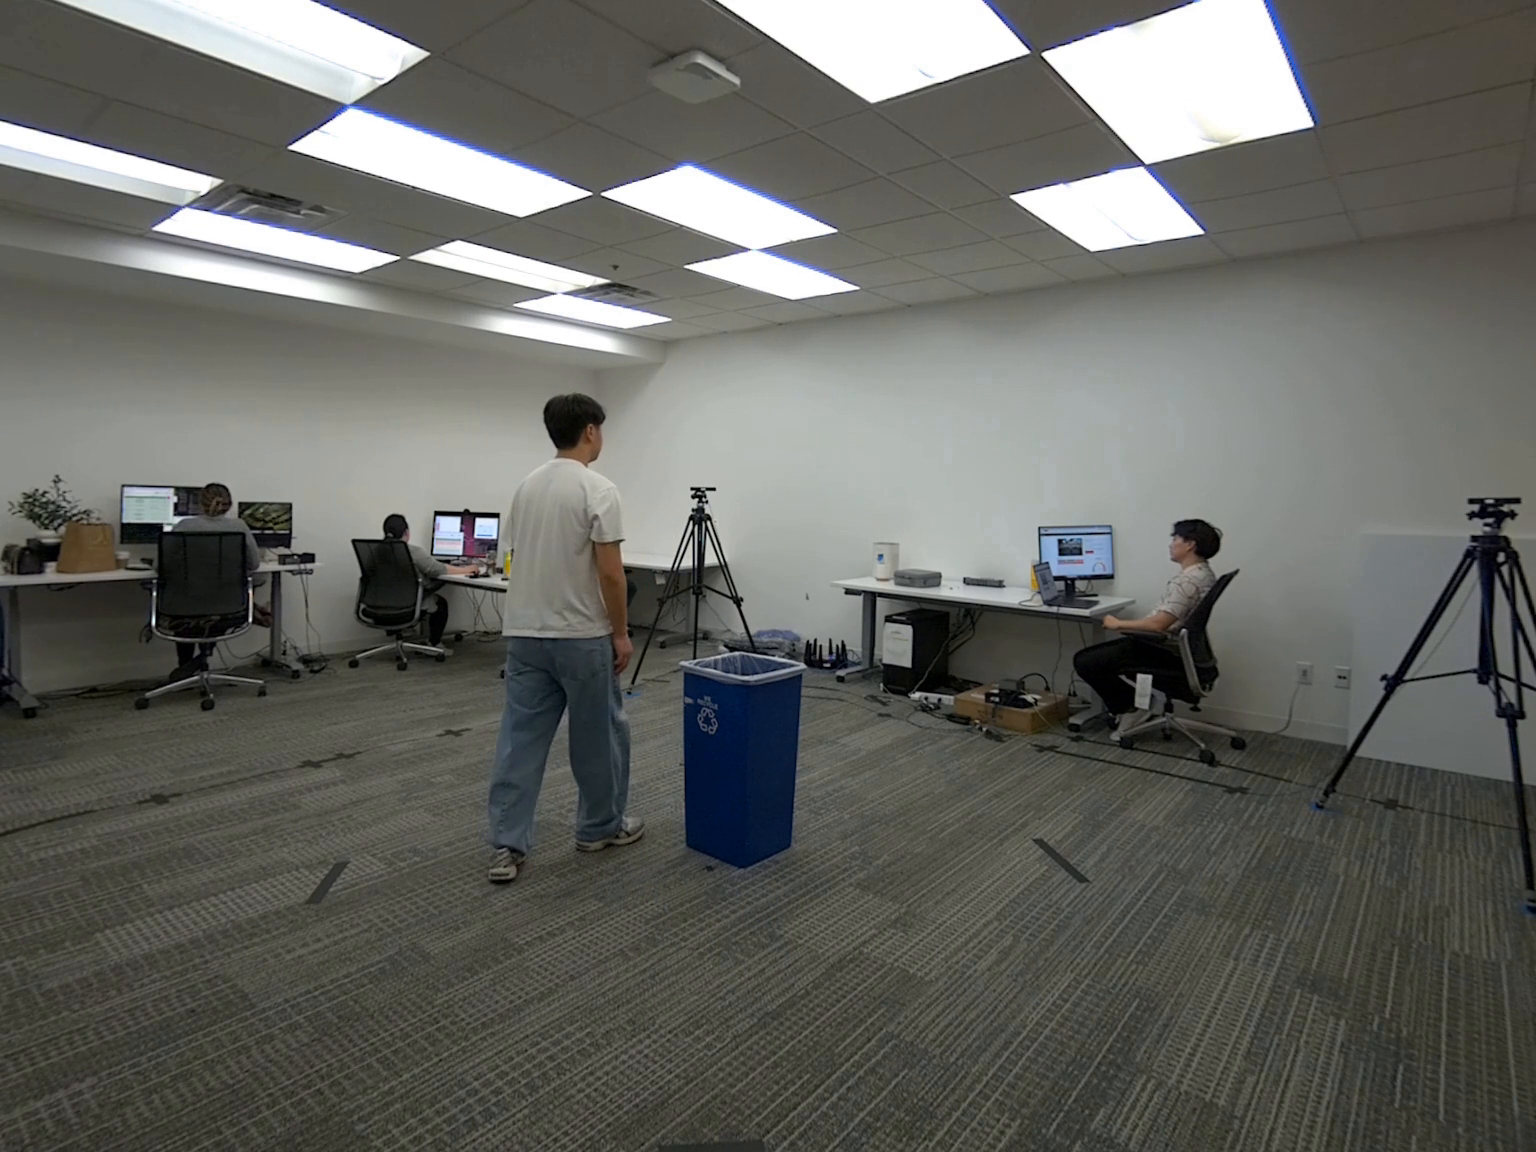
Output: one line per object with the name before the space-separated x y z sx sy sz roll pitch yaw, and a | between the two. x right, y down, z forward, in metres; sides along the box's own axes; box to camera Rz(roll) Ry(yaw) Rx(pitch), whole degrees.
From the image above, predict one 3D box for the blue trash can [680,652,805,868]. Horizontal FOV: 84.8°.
blue trash can | -0.106 0.693 3.289 0.386 0.711 0.367 4 4 40
